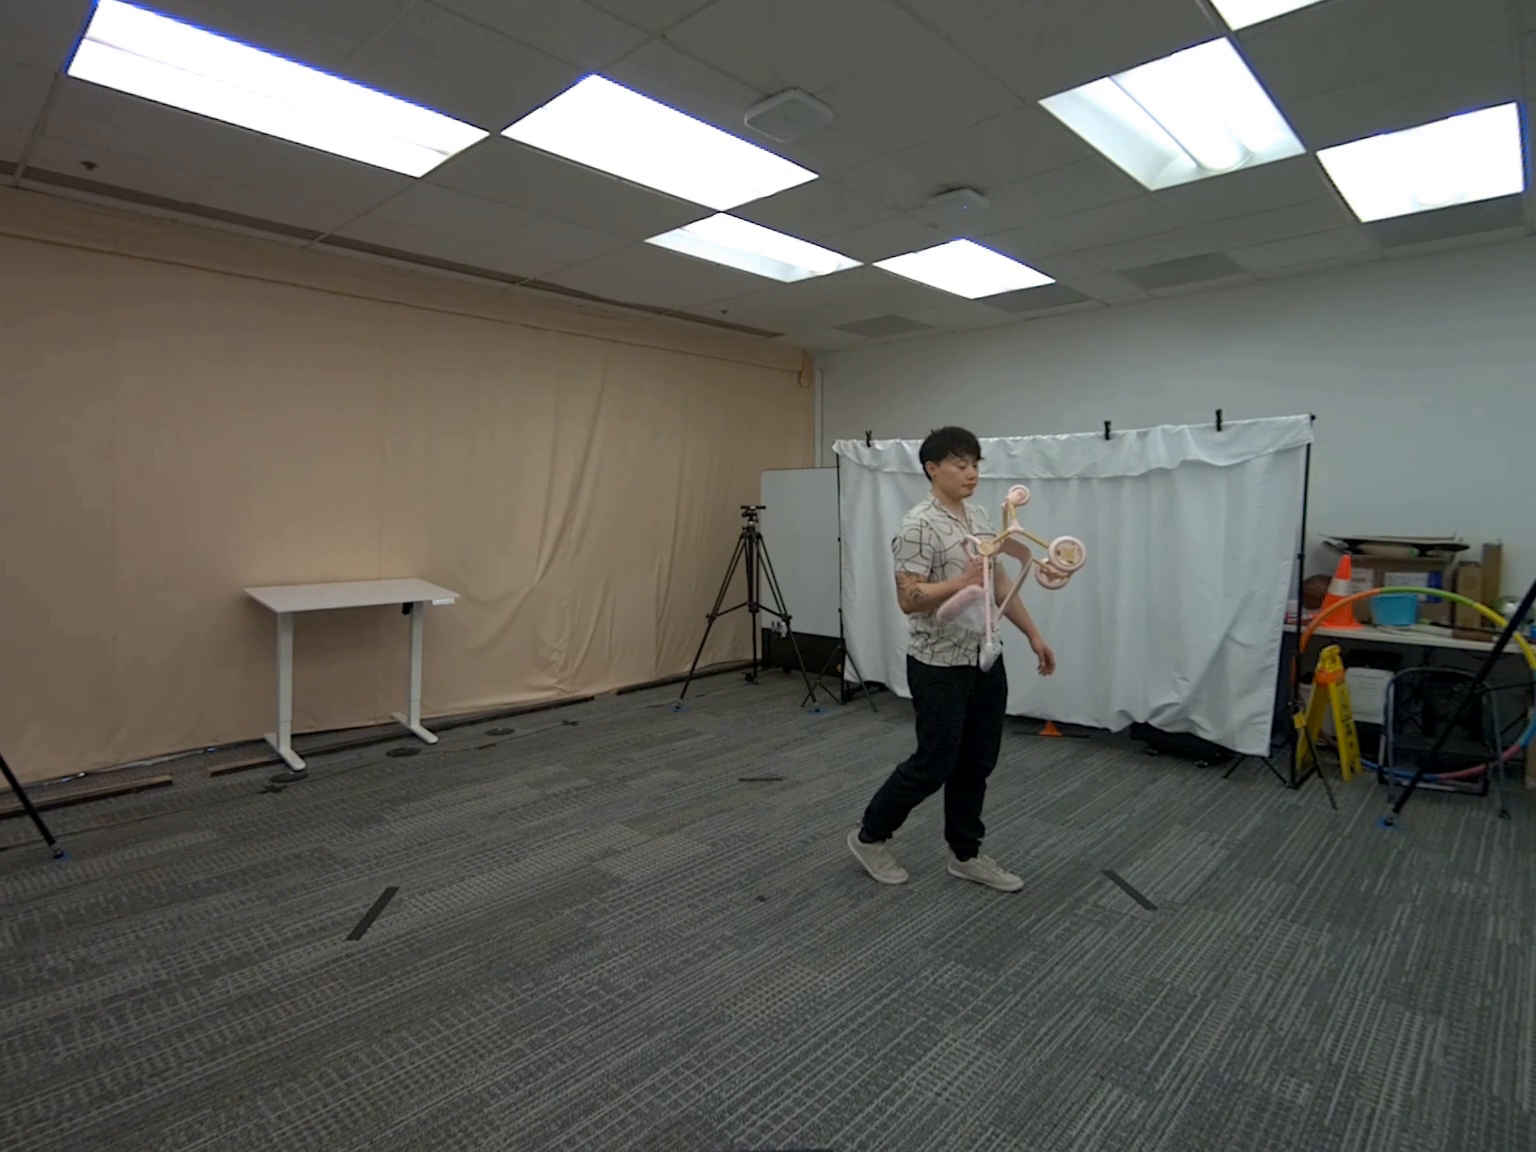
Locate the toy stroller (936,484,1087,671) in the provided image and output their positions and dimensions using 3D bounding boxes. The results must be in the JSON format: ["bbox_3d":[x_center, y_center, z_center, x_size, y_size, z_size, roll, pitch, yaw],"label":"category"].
[{"bbox_3d":[0.724,0.001,2.670,0.534,0.347,0.277,-44,-12,-2],"label":"toy stroller"}]
